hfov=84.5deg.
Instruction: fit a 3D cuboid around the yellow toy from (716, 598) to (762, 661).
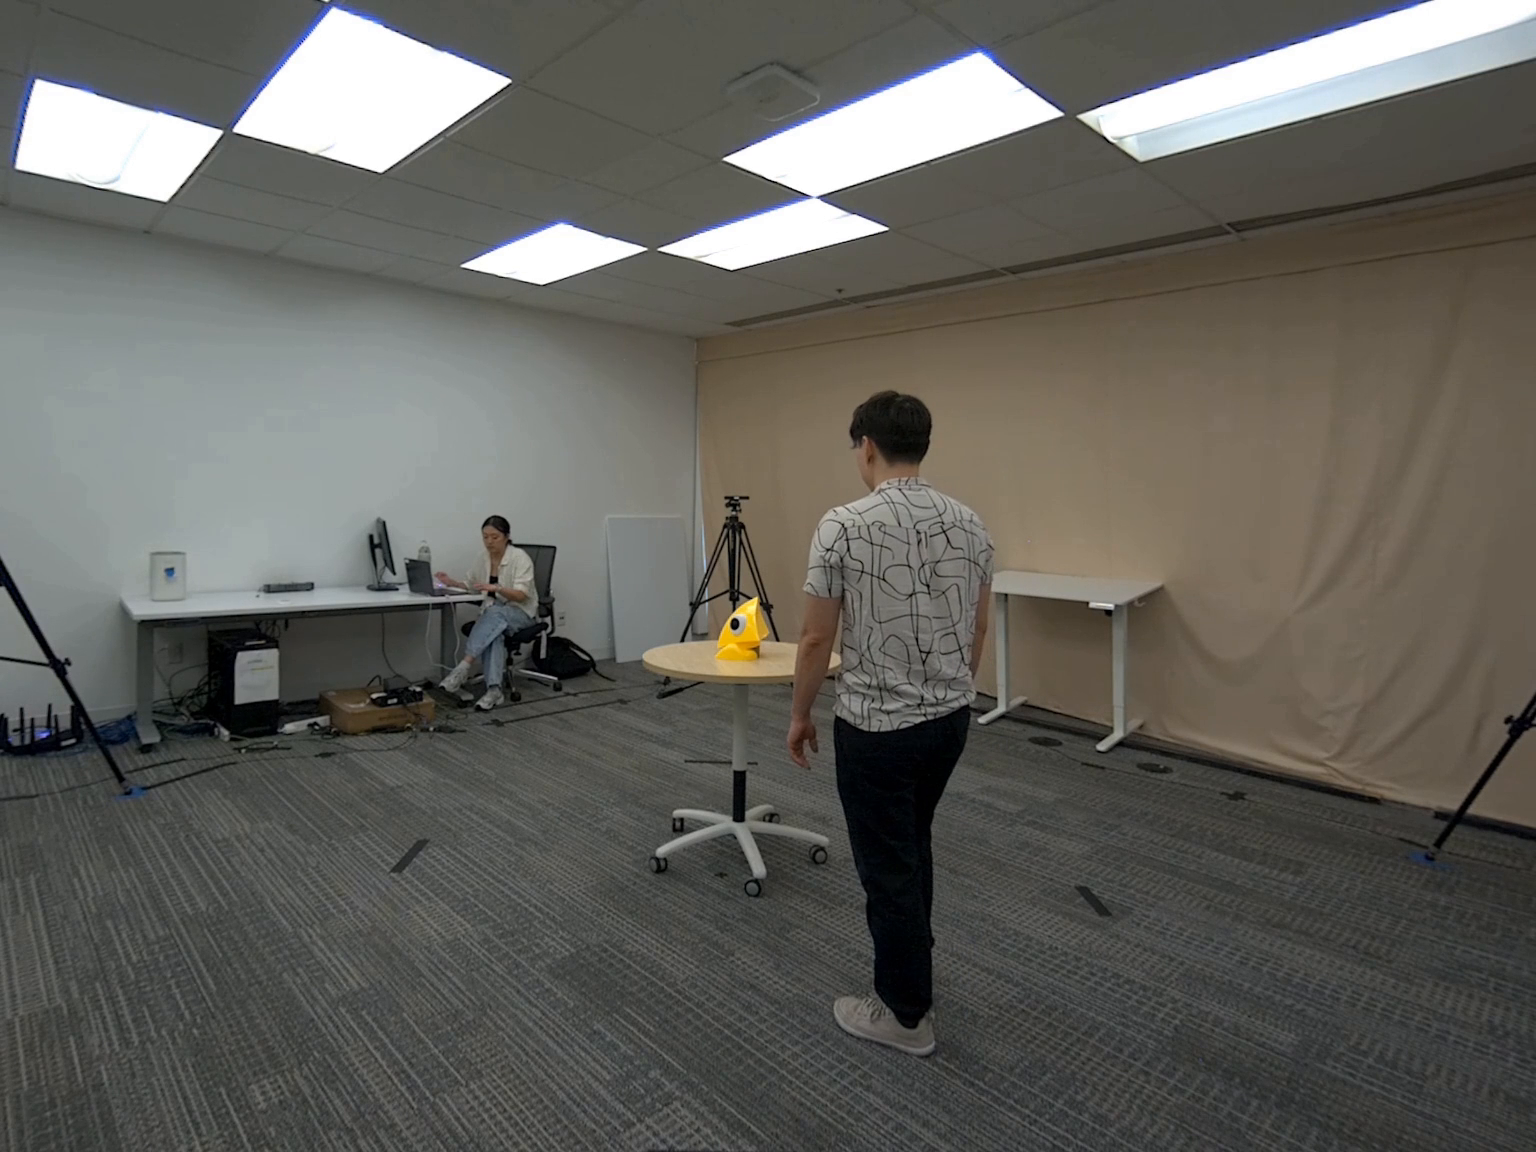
[{"bbox_3d":[-0.110,0.195,3.243,0.195,0.230,0.203,3,4,13],"label":"yellow toy"}]
